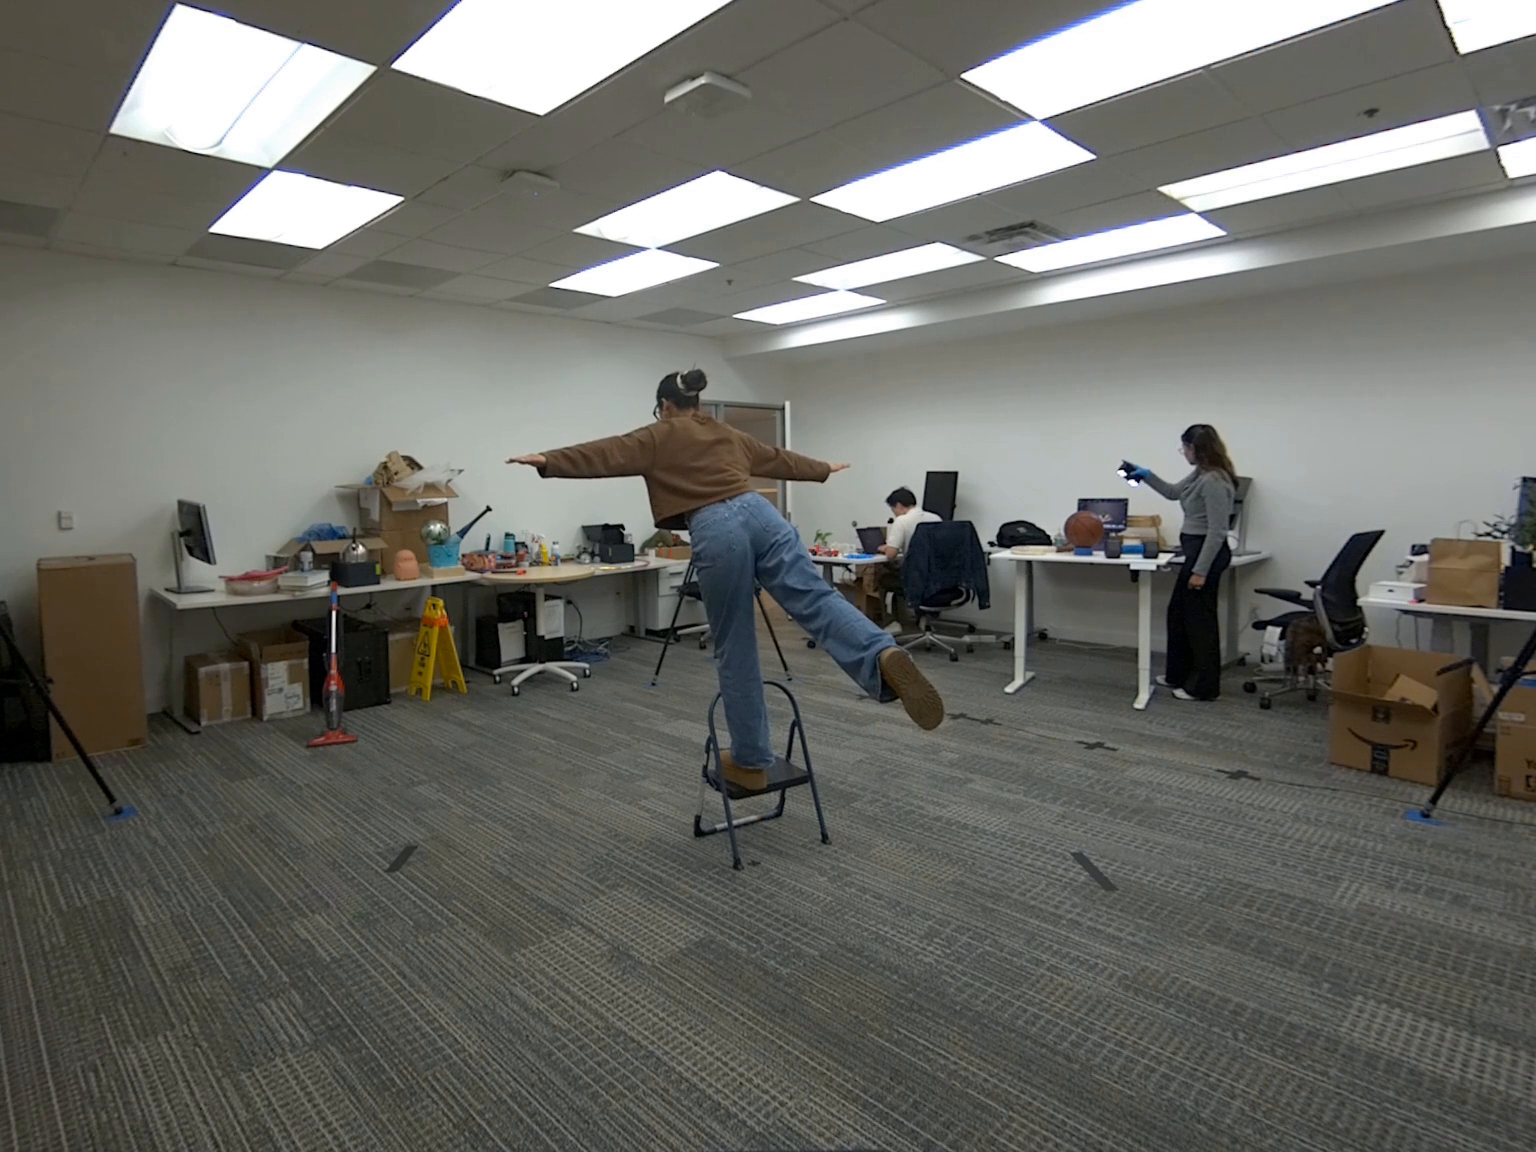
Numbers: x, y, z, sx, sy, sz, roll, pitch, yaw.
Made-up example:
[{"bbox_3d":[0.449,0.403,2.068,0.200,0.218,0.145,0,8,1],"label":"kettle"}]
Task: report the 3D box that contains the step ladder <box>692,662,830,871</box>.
[{"bbox_3d":[-0.030,0.721,3.292,0.420,0.604,0.359,-4,5,-33],"label":"step ladder"}]
